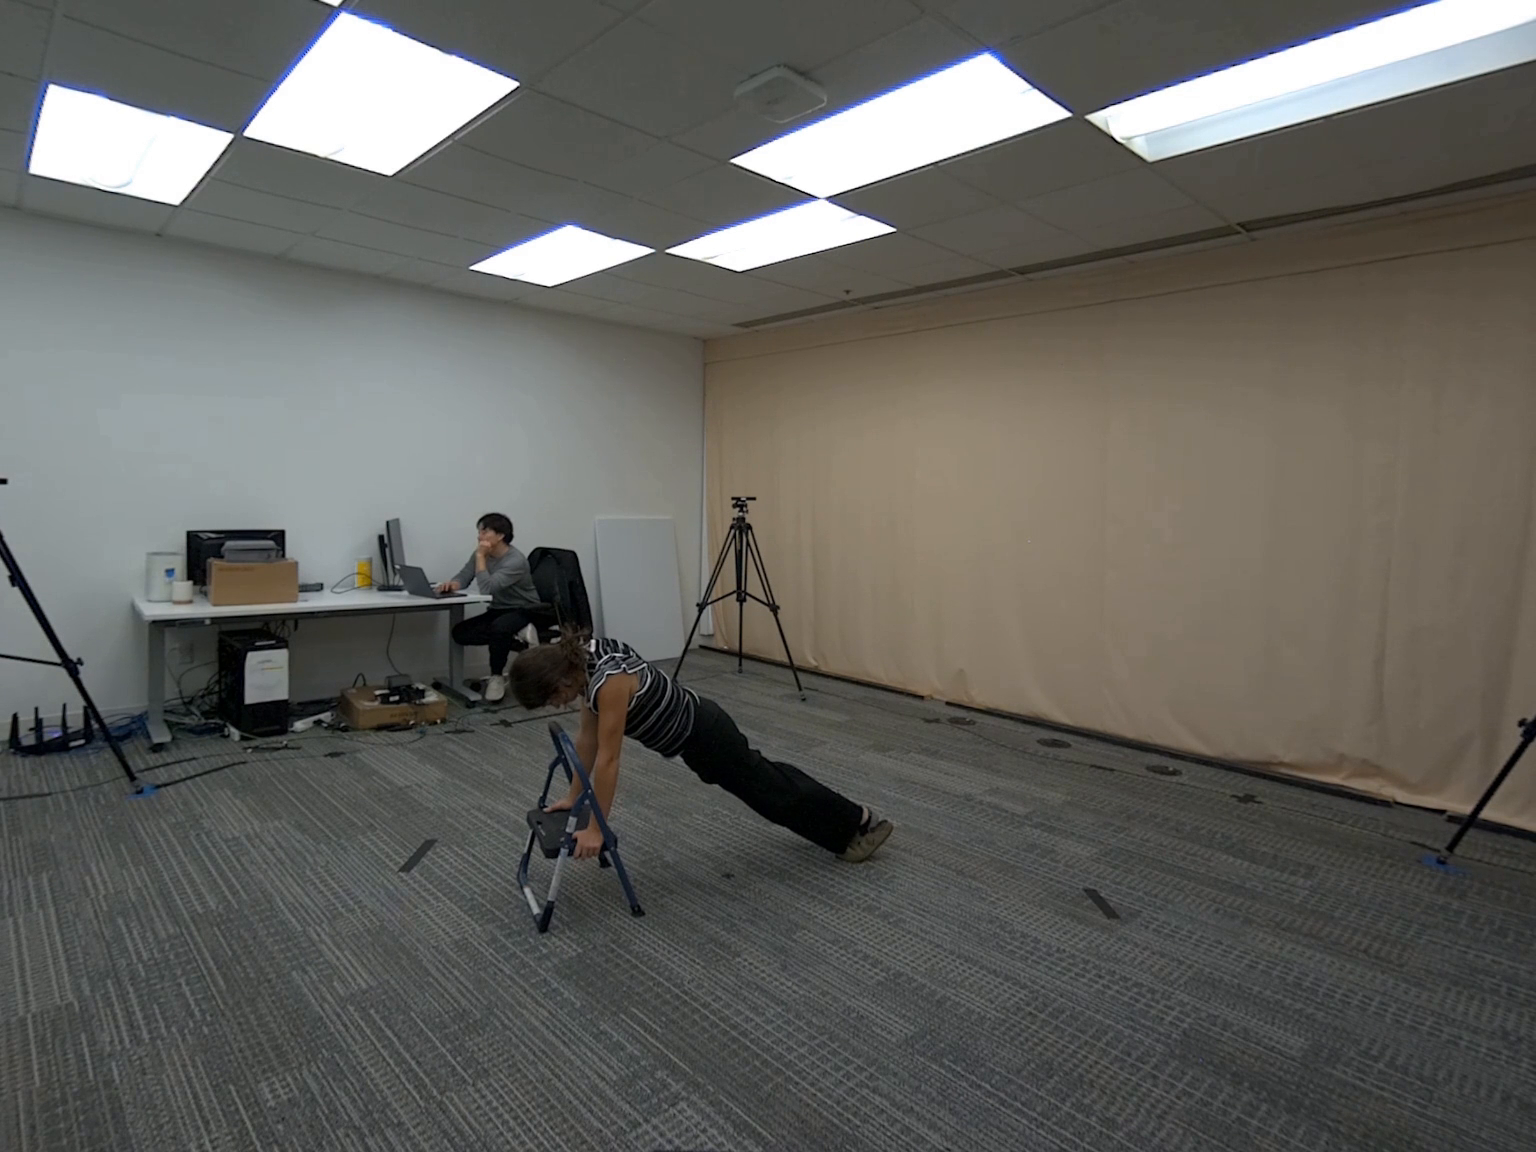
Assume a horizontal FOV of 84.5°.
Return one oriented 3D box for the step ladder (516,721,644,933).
[{"bbox_3d":[-0.663,0.815,2.900,0.343,0.604,0.440,-1,4,-27],"label":"step ladder"}]
